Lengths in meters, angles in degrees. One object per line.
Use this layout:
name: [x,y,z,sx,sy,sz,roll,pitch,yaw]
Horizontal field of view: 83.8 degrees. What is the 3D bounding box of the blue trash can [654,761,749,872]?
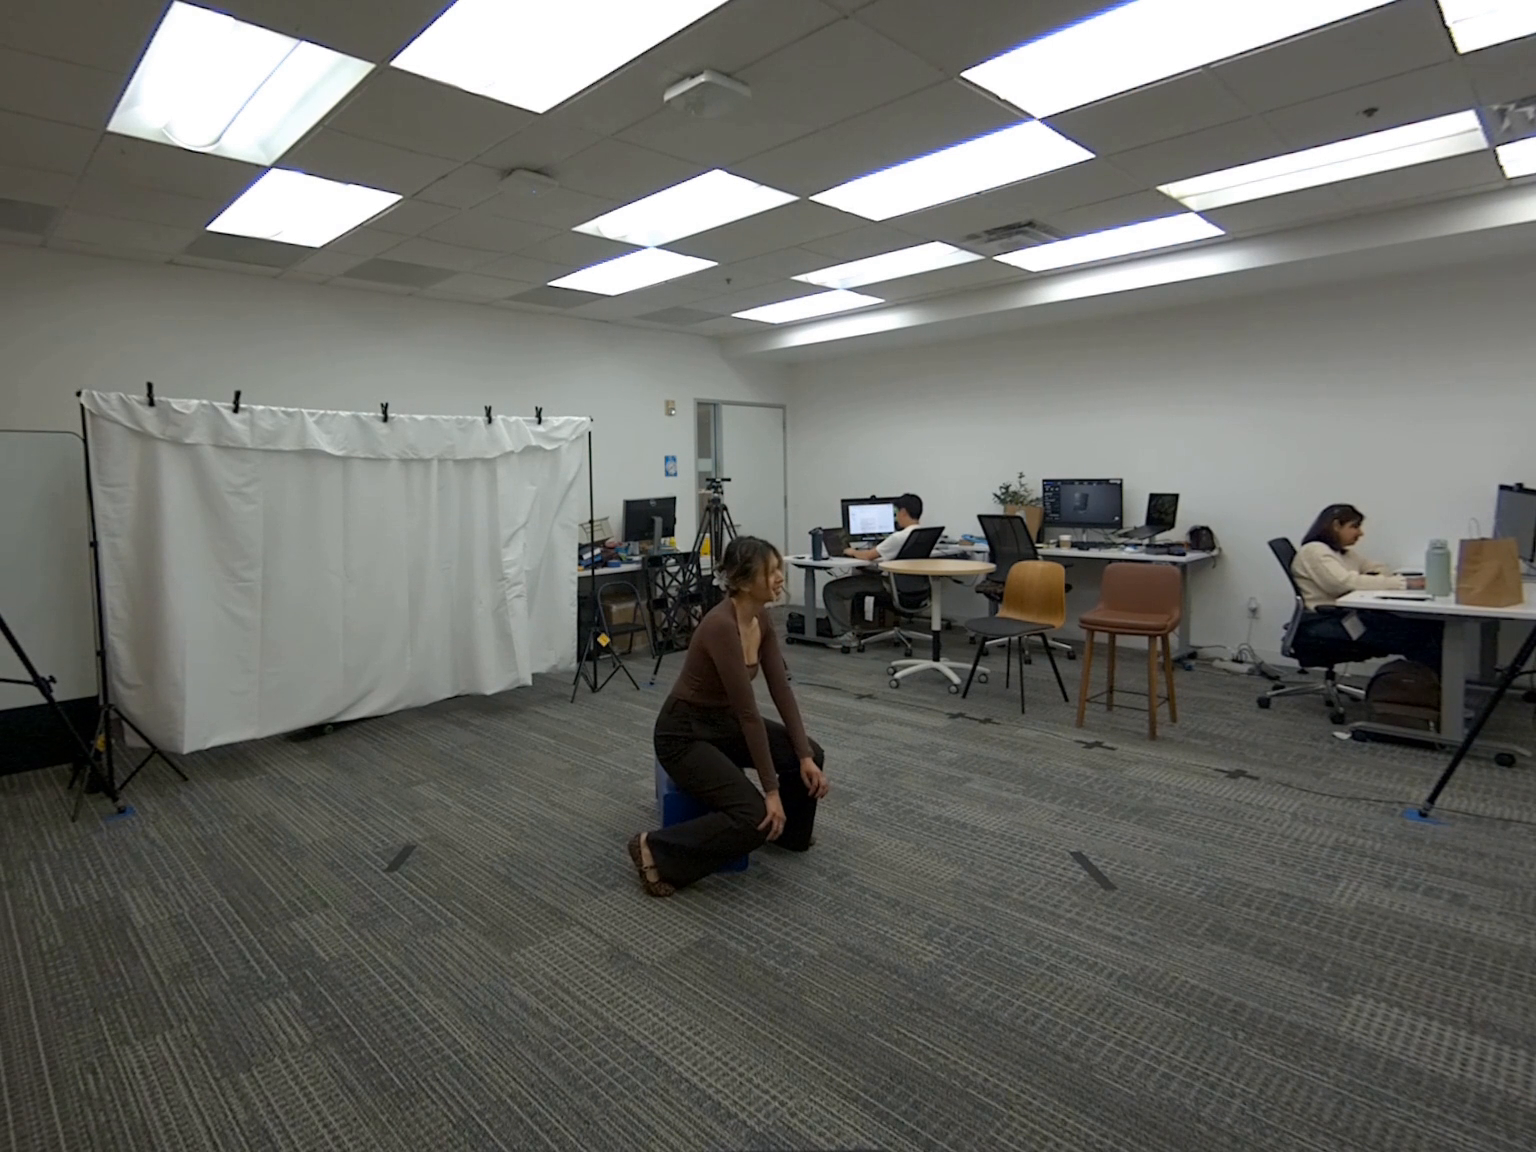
blue trash can: [-0.251,0.847,3.377,0.372,0.375,0.723,-1,9,-8]
